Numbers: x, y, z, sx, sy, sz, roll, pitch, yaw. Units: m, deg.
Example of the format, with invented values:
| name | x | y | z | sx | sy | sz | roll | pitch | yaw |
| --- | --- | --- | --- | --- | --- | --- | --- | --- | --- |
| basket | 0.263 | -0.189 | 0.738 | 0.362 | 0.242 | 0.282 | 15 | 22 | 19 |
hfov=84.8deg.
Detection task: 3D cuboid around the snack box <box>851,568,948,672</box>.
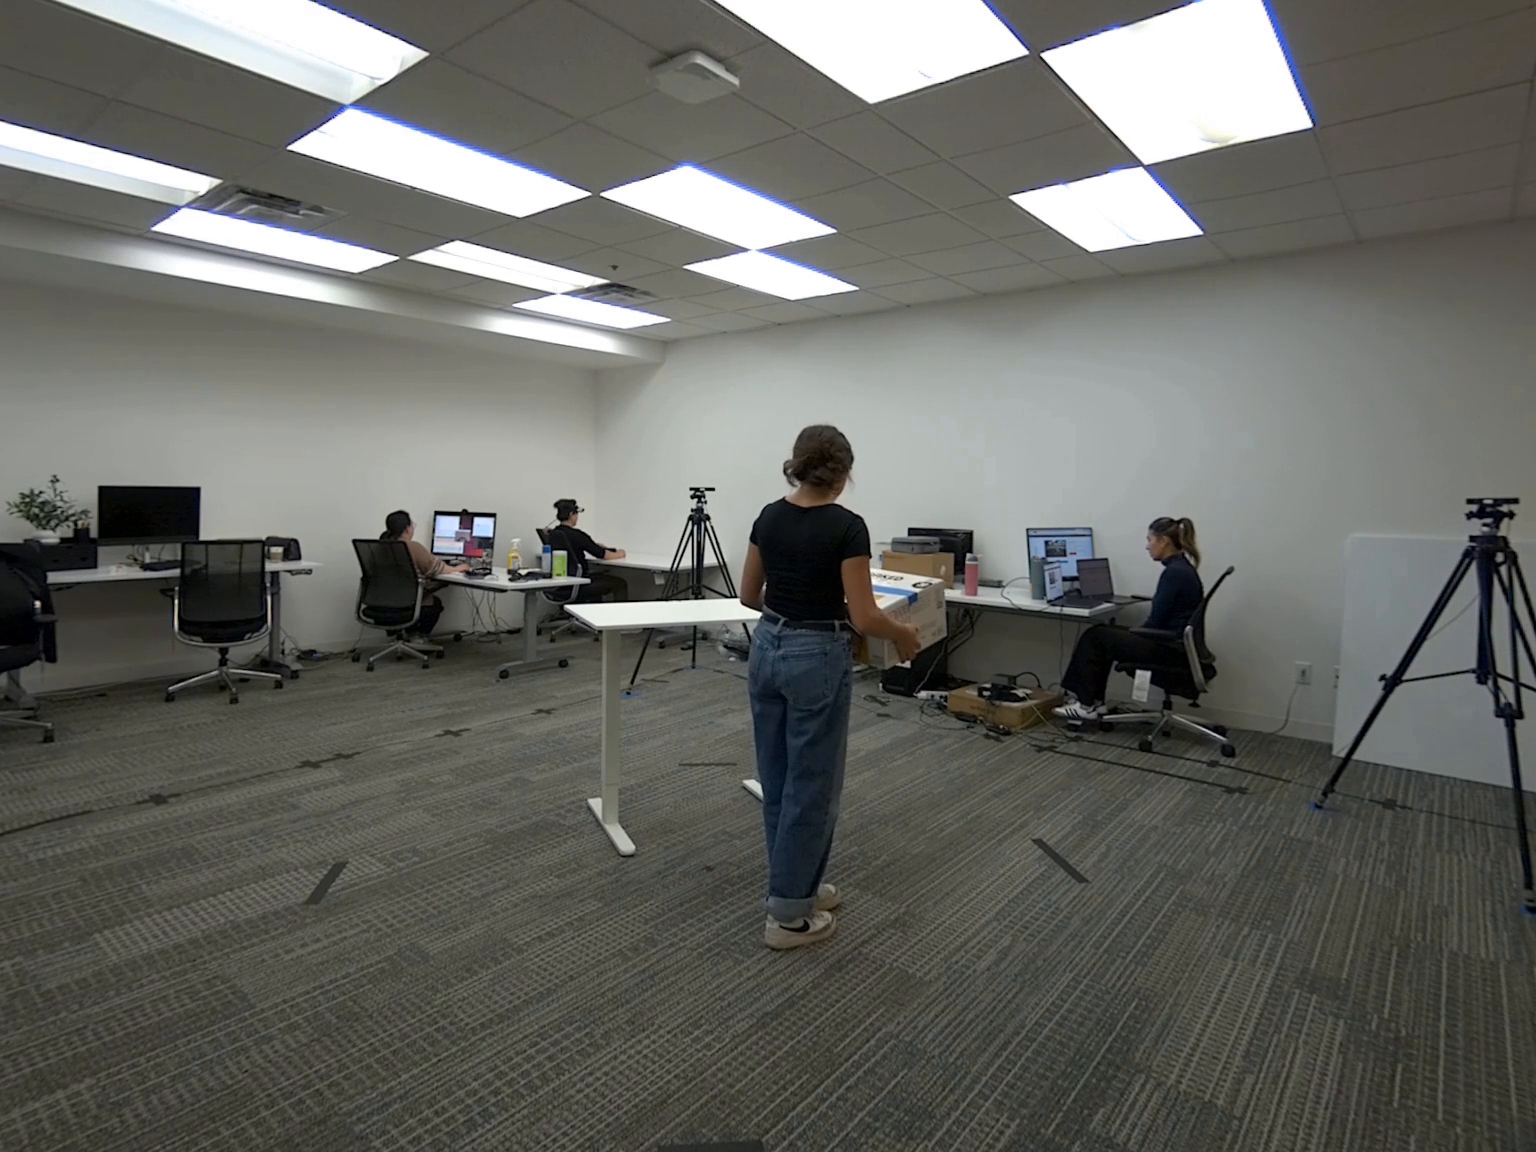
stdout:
| name | x | y | z | sx | sy | sz | roll | pitch | yaw |
| --- | --- | --- | --- | --- | --- | --- | --- | --- | --- |
| snack box | 0.316 | 0.124 | 2.869 | 0.333 | 0.203 | 0.420 | -19 | 20 | -41 |
